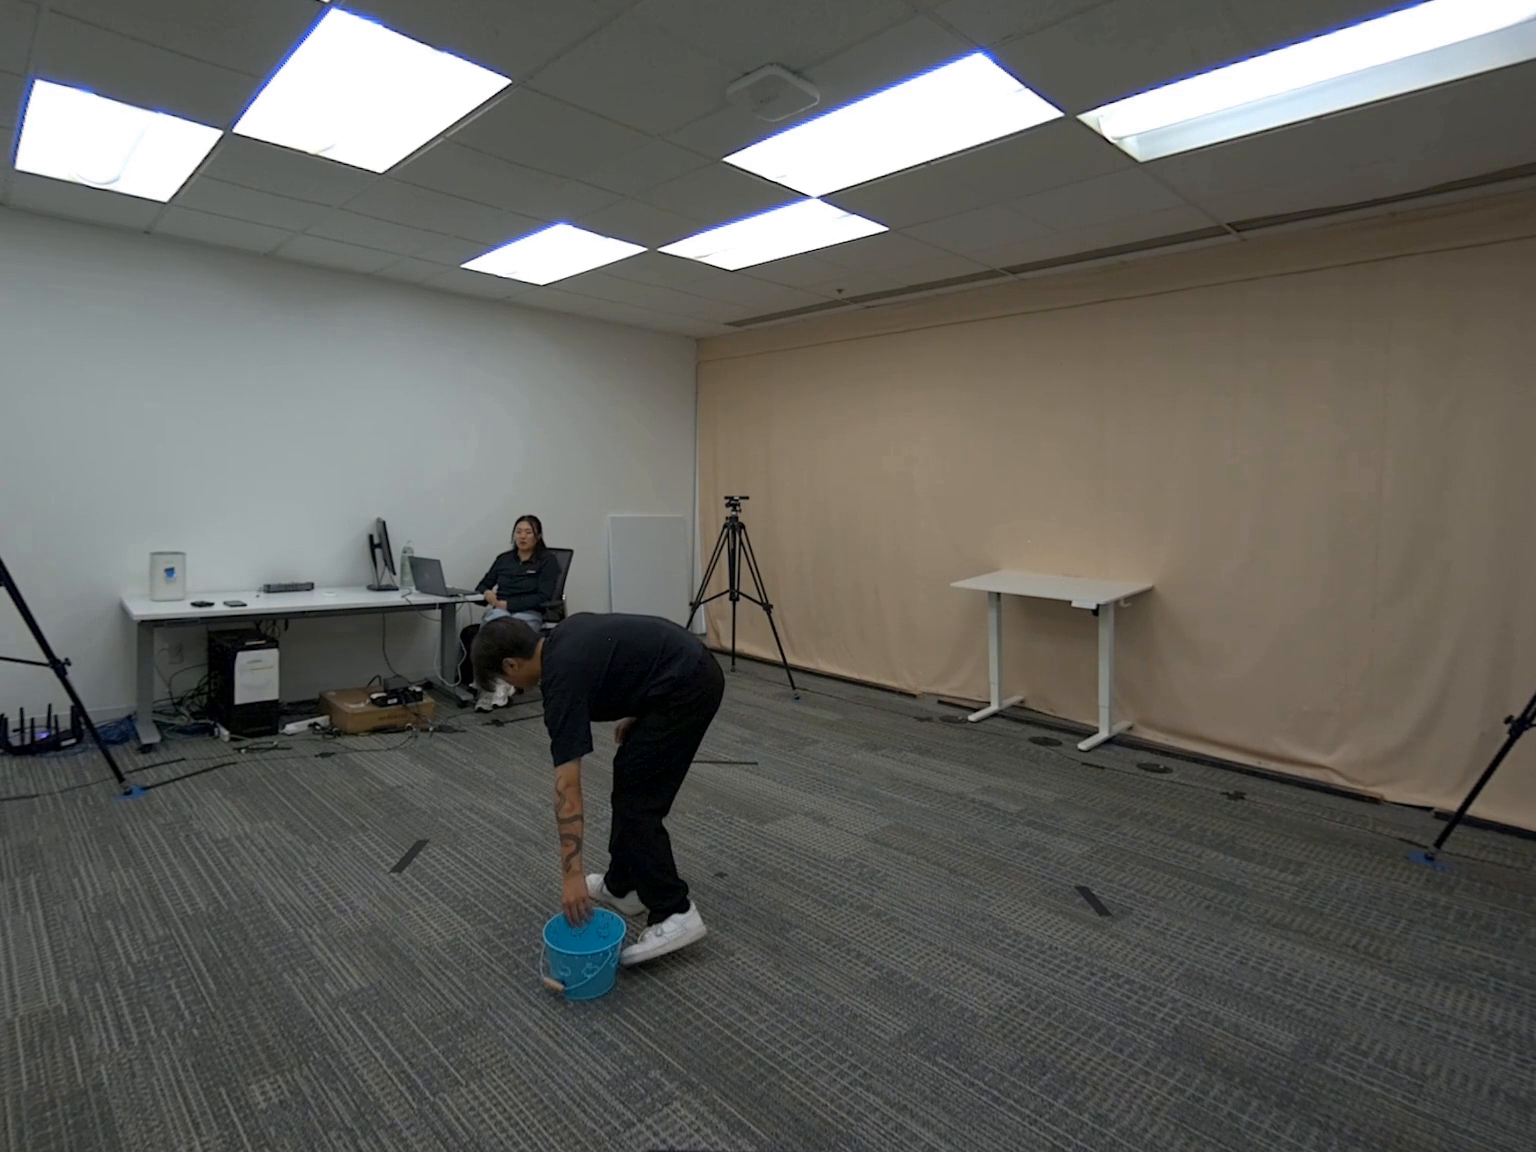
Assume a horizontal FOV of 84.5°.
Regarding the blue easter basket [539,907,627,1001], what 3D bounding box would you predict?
[{"bbox_3d":[-0.533,1.083,2.387,0.243,0.155,0.245,2,7,-2],"label":"blue easter basket"}]
